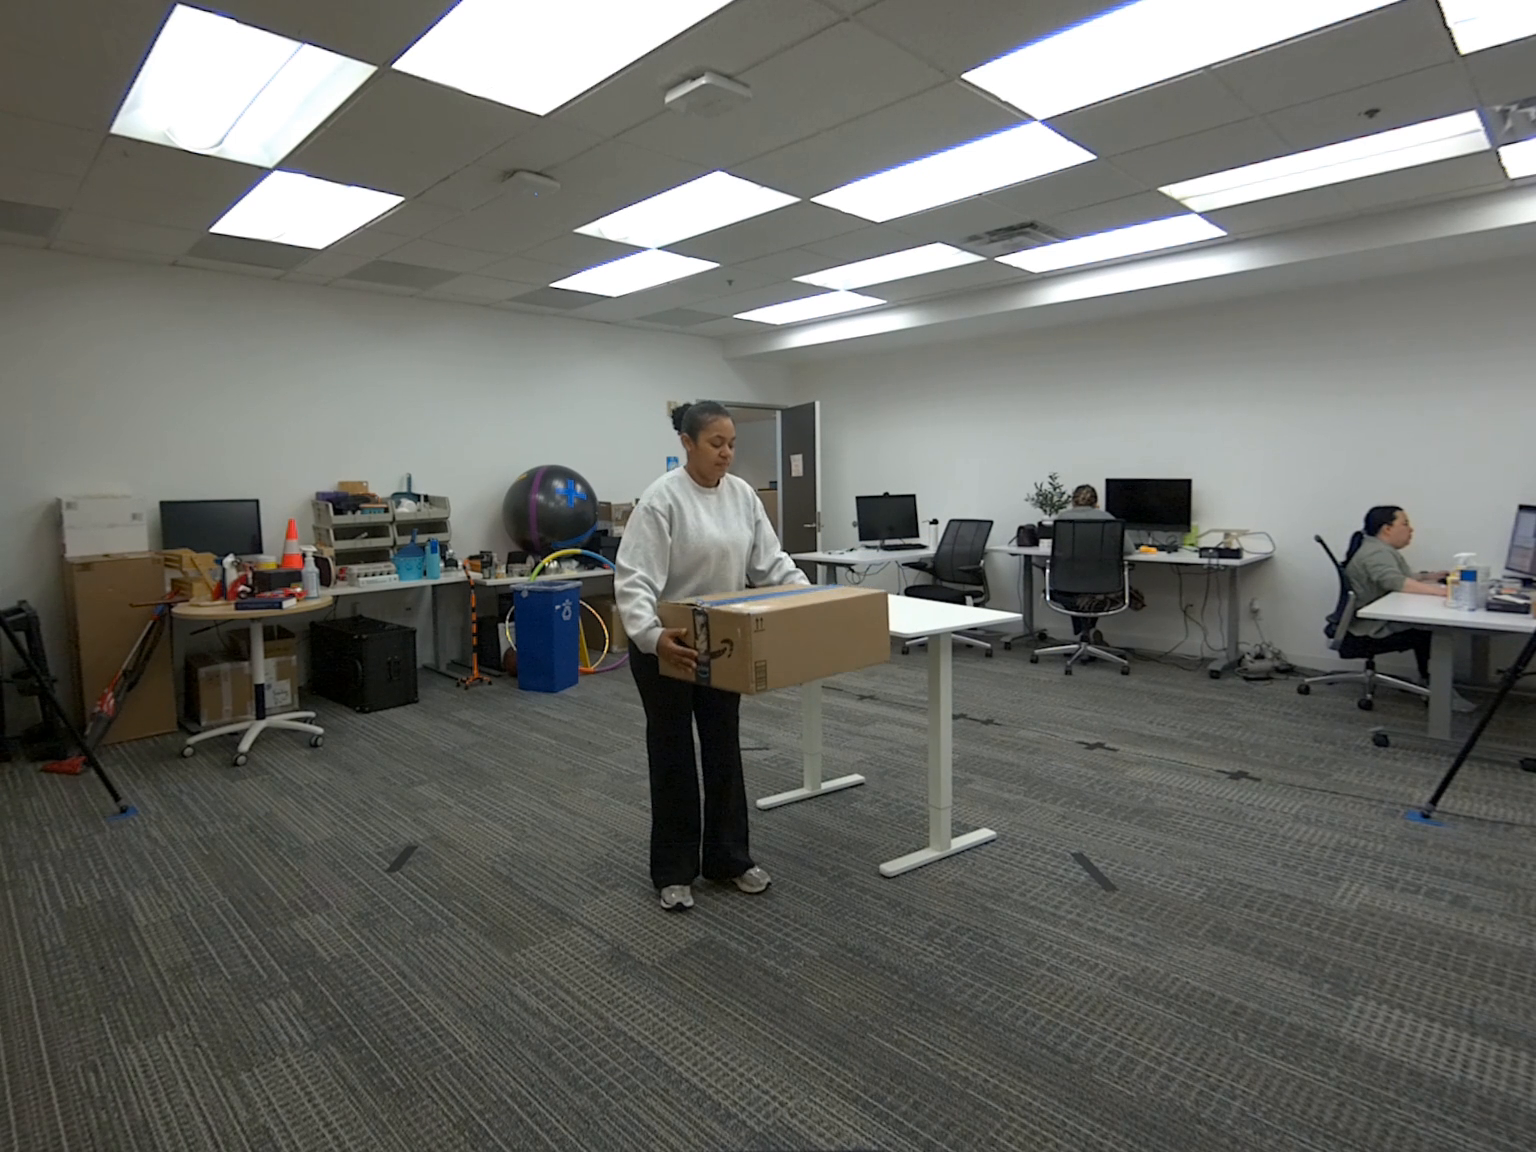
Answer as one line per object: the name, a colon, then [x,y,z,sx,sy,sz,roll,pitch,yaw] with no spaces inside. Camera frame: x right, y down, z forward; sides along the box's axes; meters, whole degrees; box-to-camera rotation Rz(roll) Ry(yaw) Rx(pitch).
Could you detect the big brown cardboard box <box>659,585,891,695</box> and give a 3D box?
big brown cardboard box: [0.019,0.178,2.532,0.573,0.232,0.430,-6,6,-42]
